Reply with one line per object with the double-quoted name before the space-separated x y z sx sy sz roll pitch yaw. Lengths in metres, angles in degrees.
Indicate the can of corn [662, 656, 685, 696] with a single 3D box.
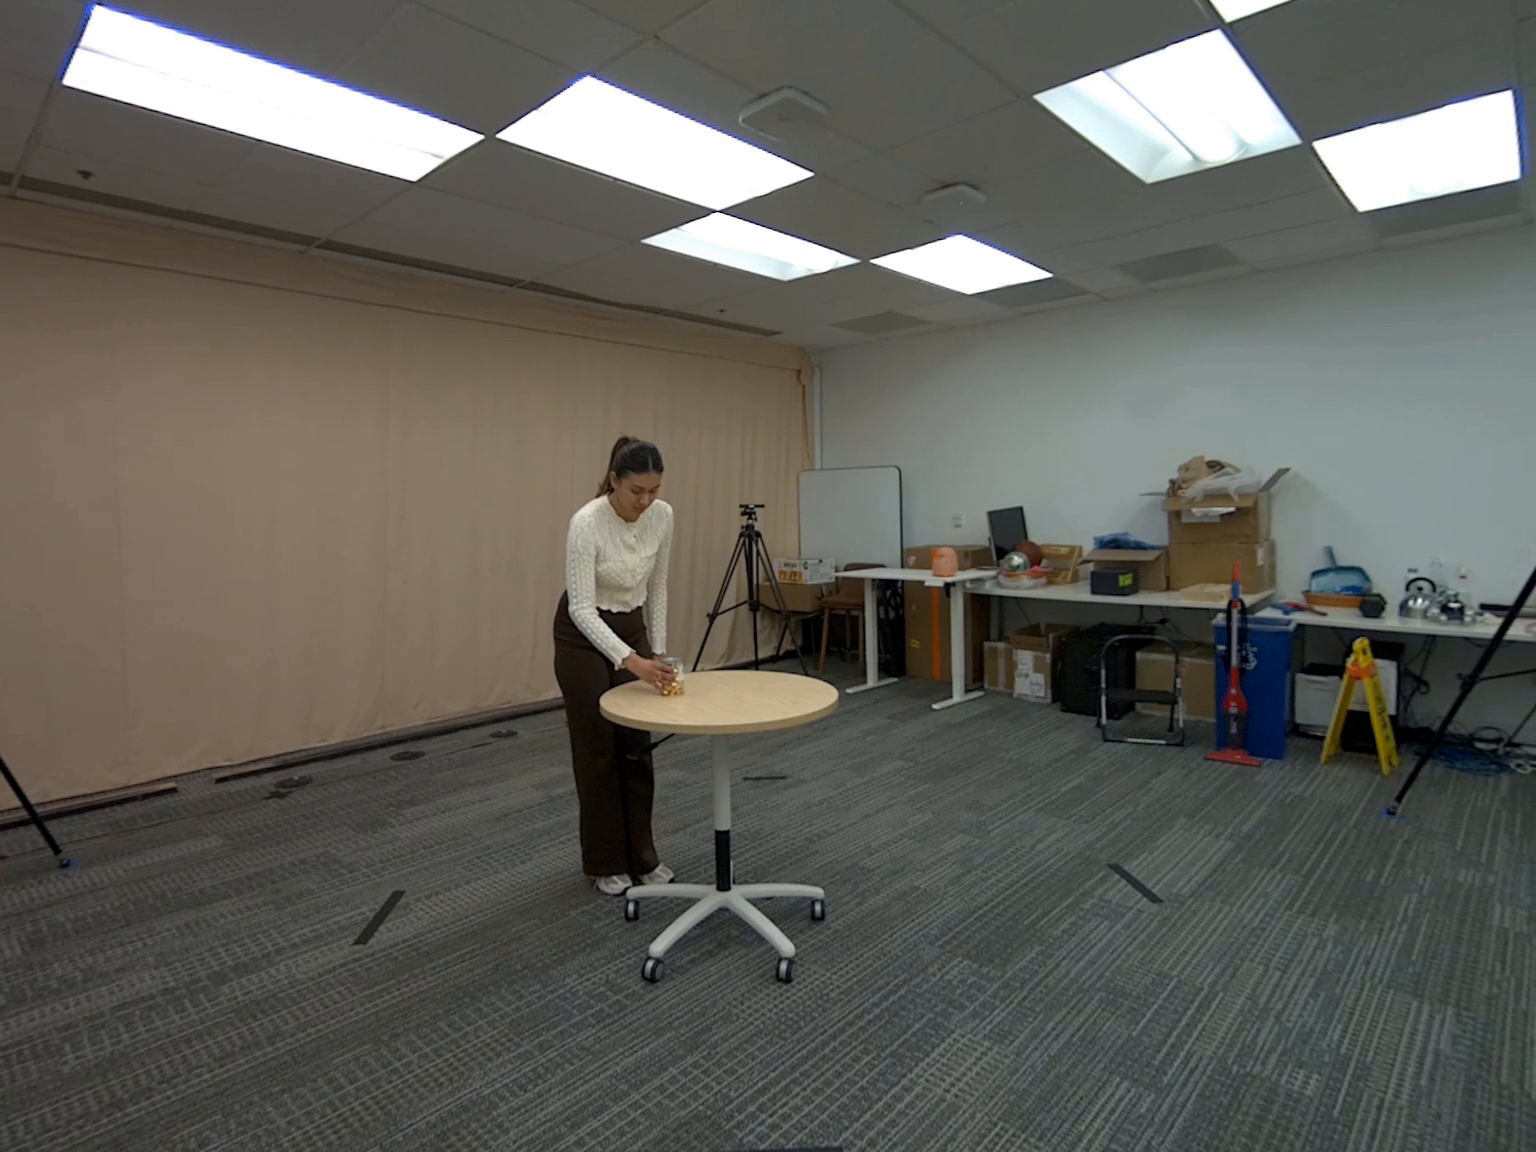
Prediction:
"can of corn" -0.311 0.332 2.731 0.074 0.111 0.074 -4 4 -2
